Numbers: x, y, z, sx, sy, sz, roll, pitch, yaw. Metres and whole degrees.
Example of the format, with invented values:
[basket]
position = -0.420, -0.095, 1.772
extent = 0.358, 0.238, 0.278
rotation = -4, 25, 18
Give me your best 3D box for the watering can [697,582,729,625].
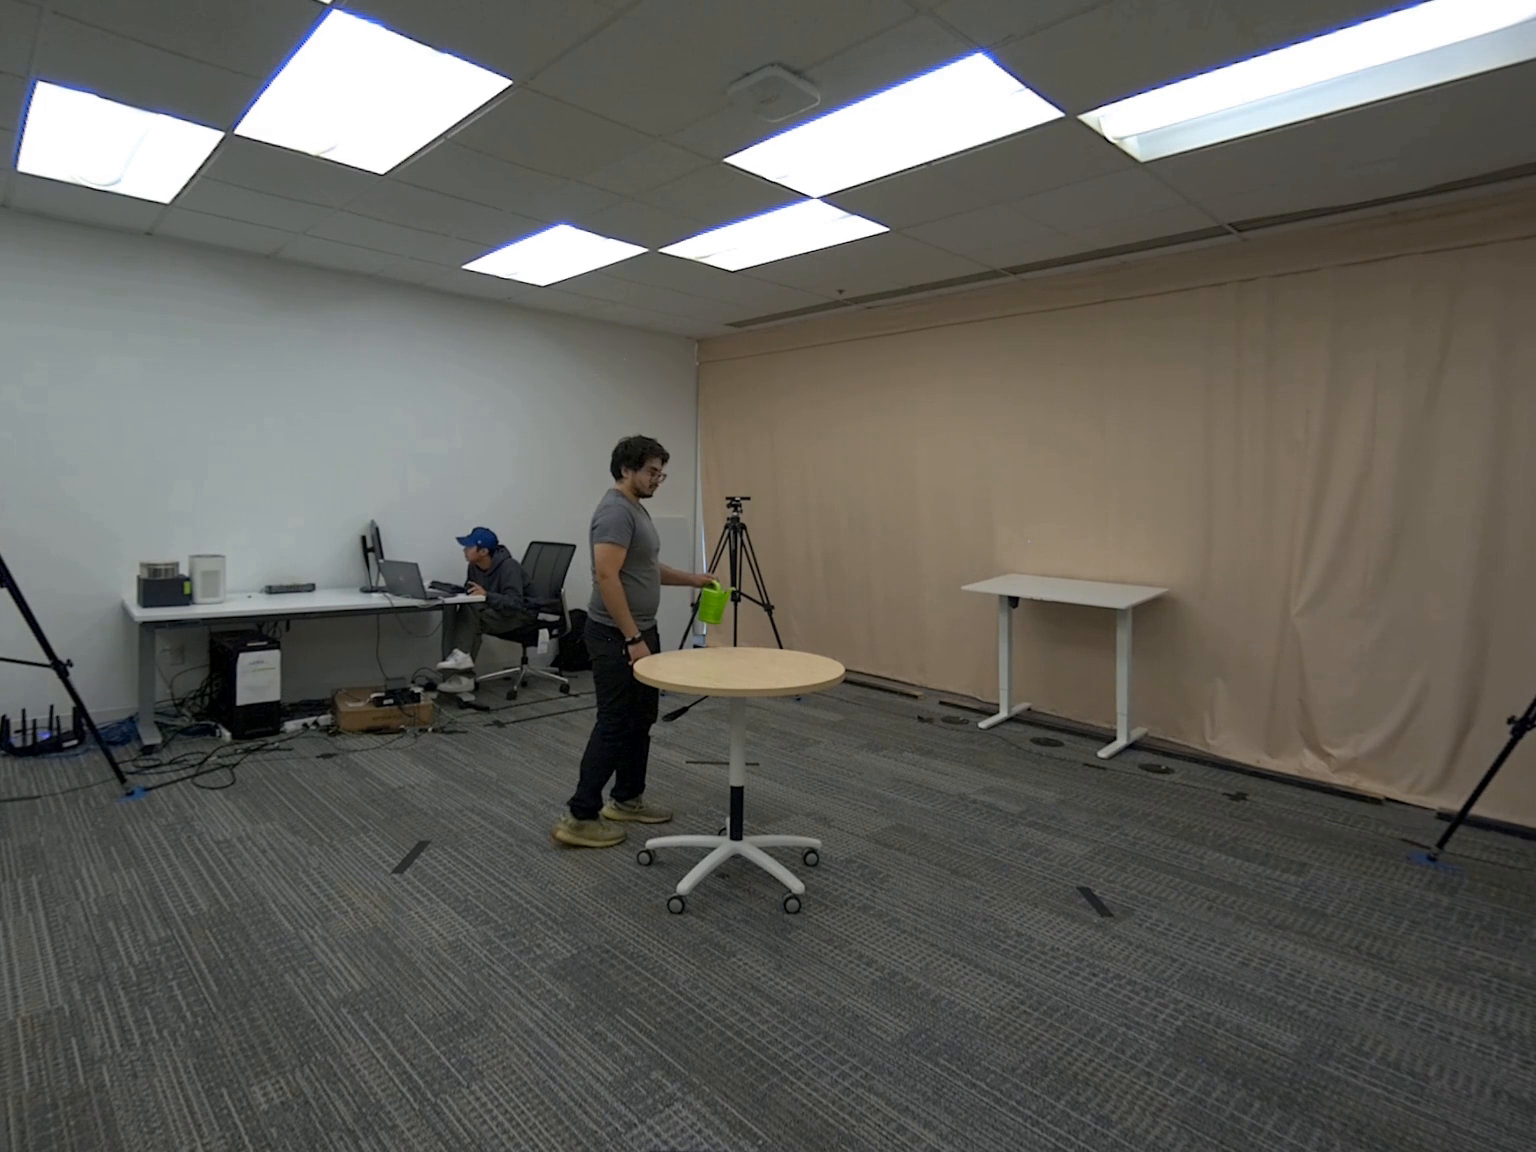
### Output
[watering can]
position = -0.239, 0.114, 3.509
extent = 0.096, 0.176, 0.283
rotation = 7, 3, -21
